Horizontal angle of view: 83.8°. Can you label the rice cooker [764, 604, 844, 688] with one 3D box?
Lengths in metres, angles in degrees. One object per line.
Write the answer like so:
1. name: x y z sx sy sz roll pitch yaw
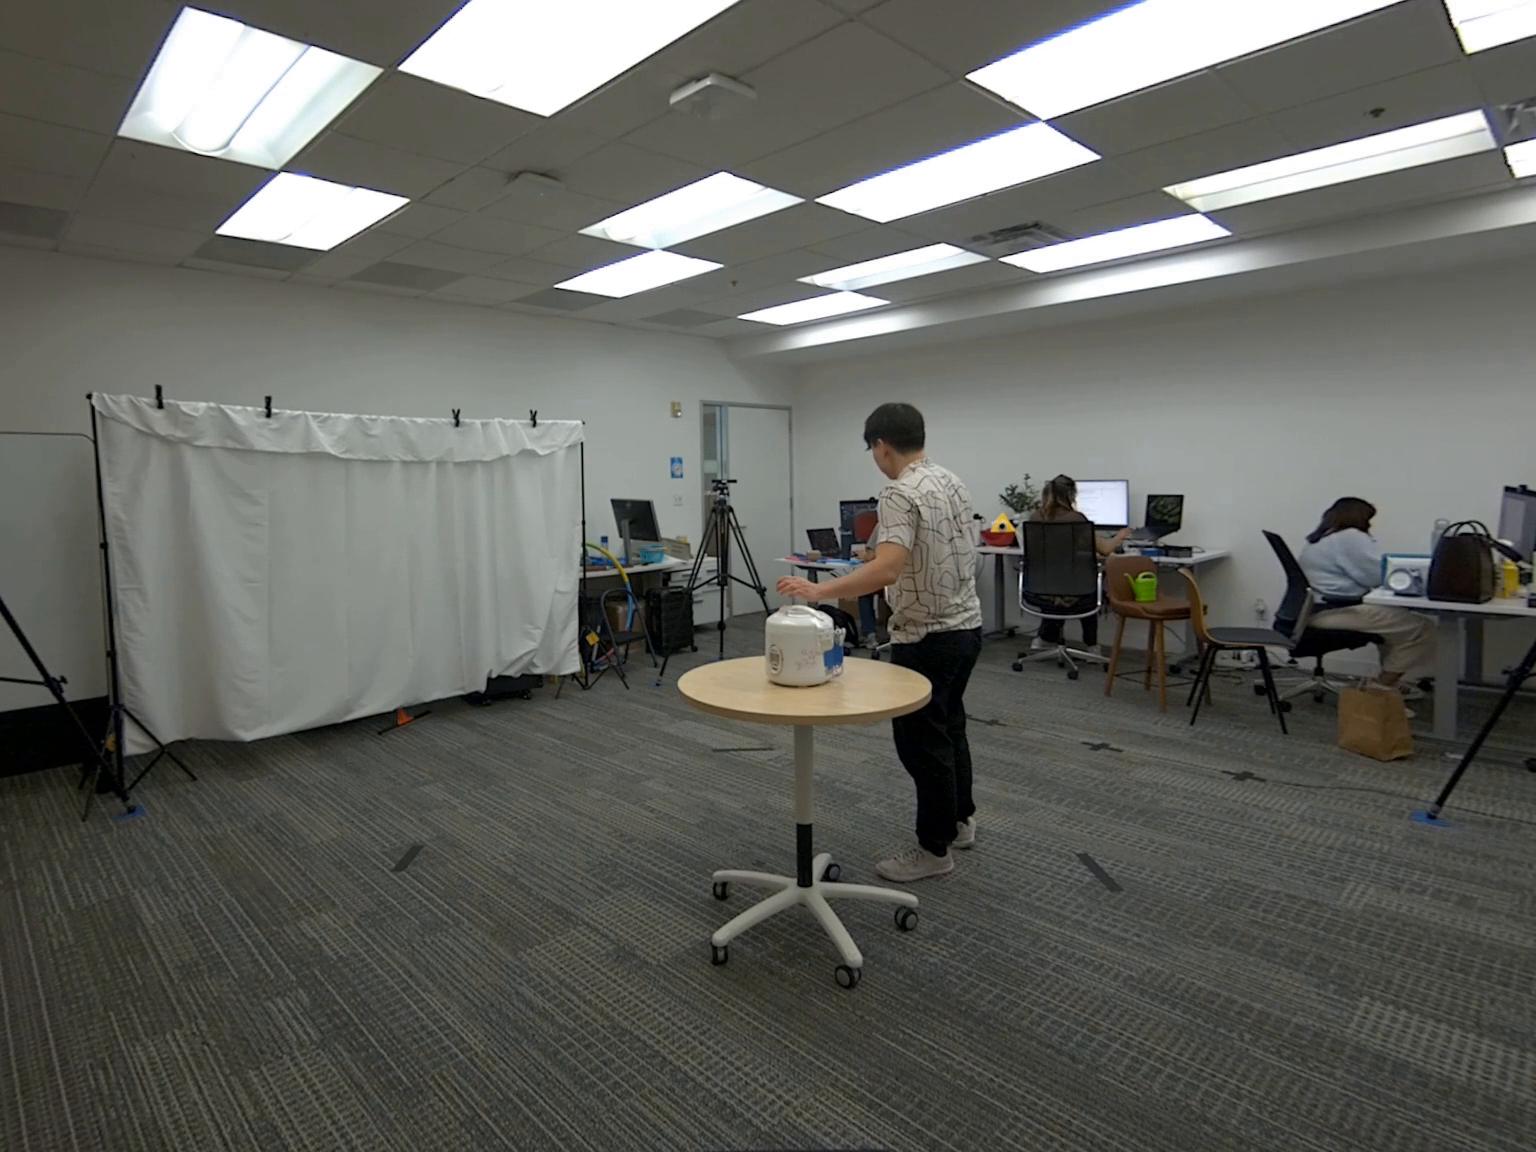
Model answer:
1. rice cooker: 0.098 0.205 2.598 0.211 0.232 0.227 -4 5 -43
